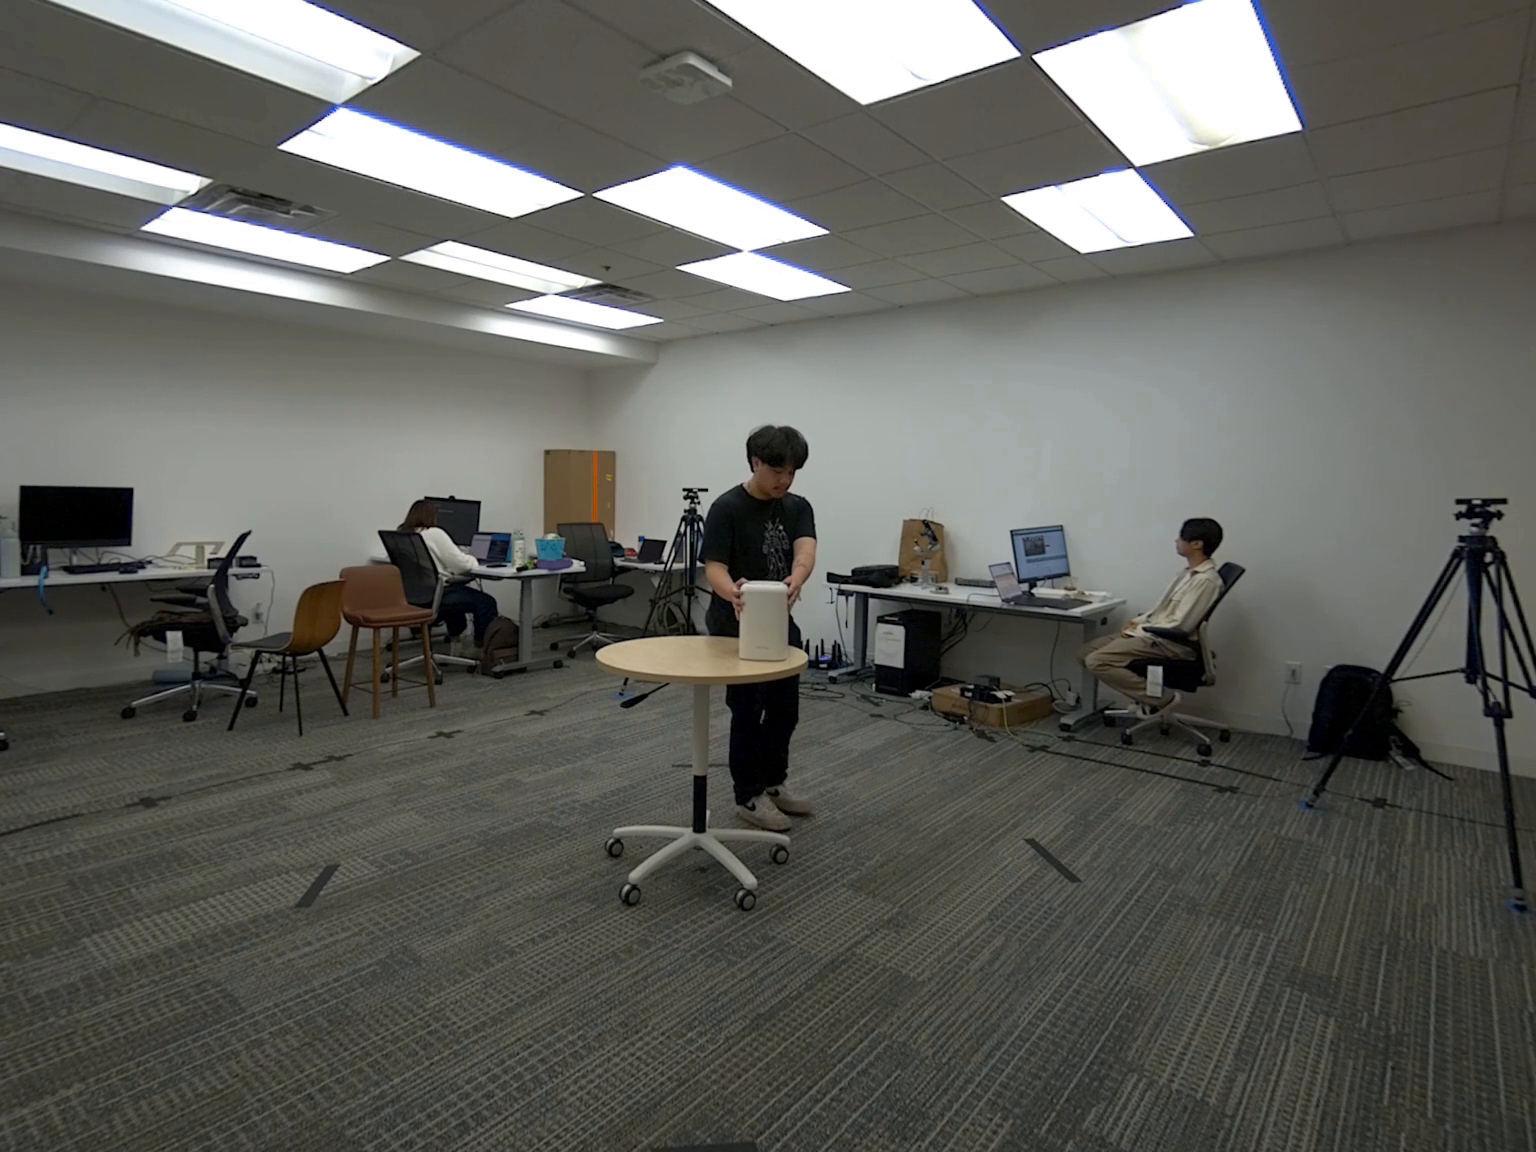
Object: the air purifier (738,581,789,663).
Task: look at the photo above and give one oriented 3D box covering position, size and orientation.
[{"bbox_3d":[-0.023,0.153,3.037,0.172,0.264,0.171,2,5,7],"label":"air purifier"}]
